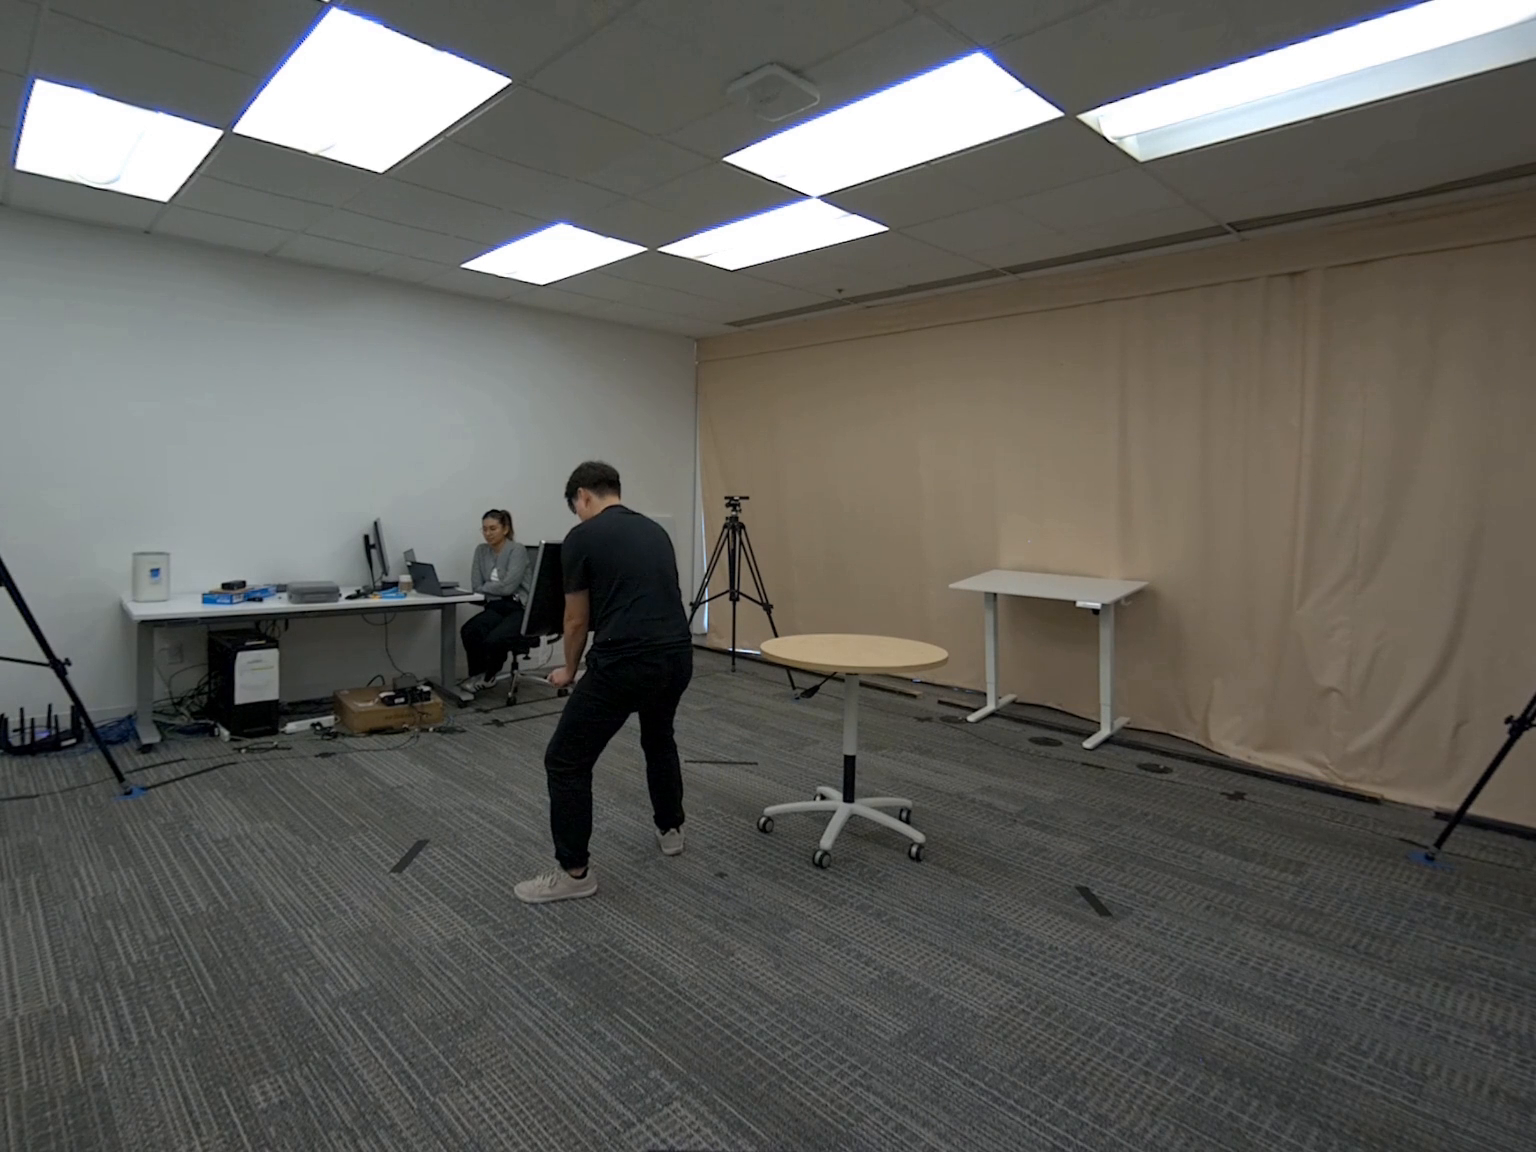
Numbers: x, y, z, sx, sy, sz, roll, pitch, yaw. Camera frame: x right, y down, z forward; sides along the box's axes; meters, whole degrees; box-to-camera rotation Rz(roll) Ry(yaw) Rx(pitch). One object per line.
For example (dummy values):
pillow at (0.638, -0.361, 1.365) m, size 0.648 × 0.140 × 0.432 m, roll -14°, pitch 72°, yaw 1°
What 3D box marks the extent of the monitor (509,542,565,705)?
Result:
monitor at (-0.653, 0.149, 3.225) m, size 0.192 × 0.521 × 0.526 m, roll 9°, pitch 6°, yaw 39°
